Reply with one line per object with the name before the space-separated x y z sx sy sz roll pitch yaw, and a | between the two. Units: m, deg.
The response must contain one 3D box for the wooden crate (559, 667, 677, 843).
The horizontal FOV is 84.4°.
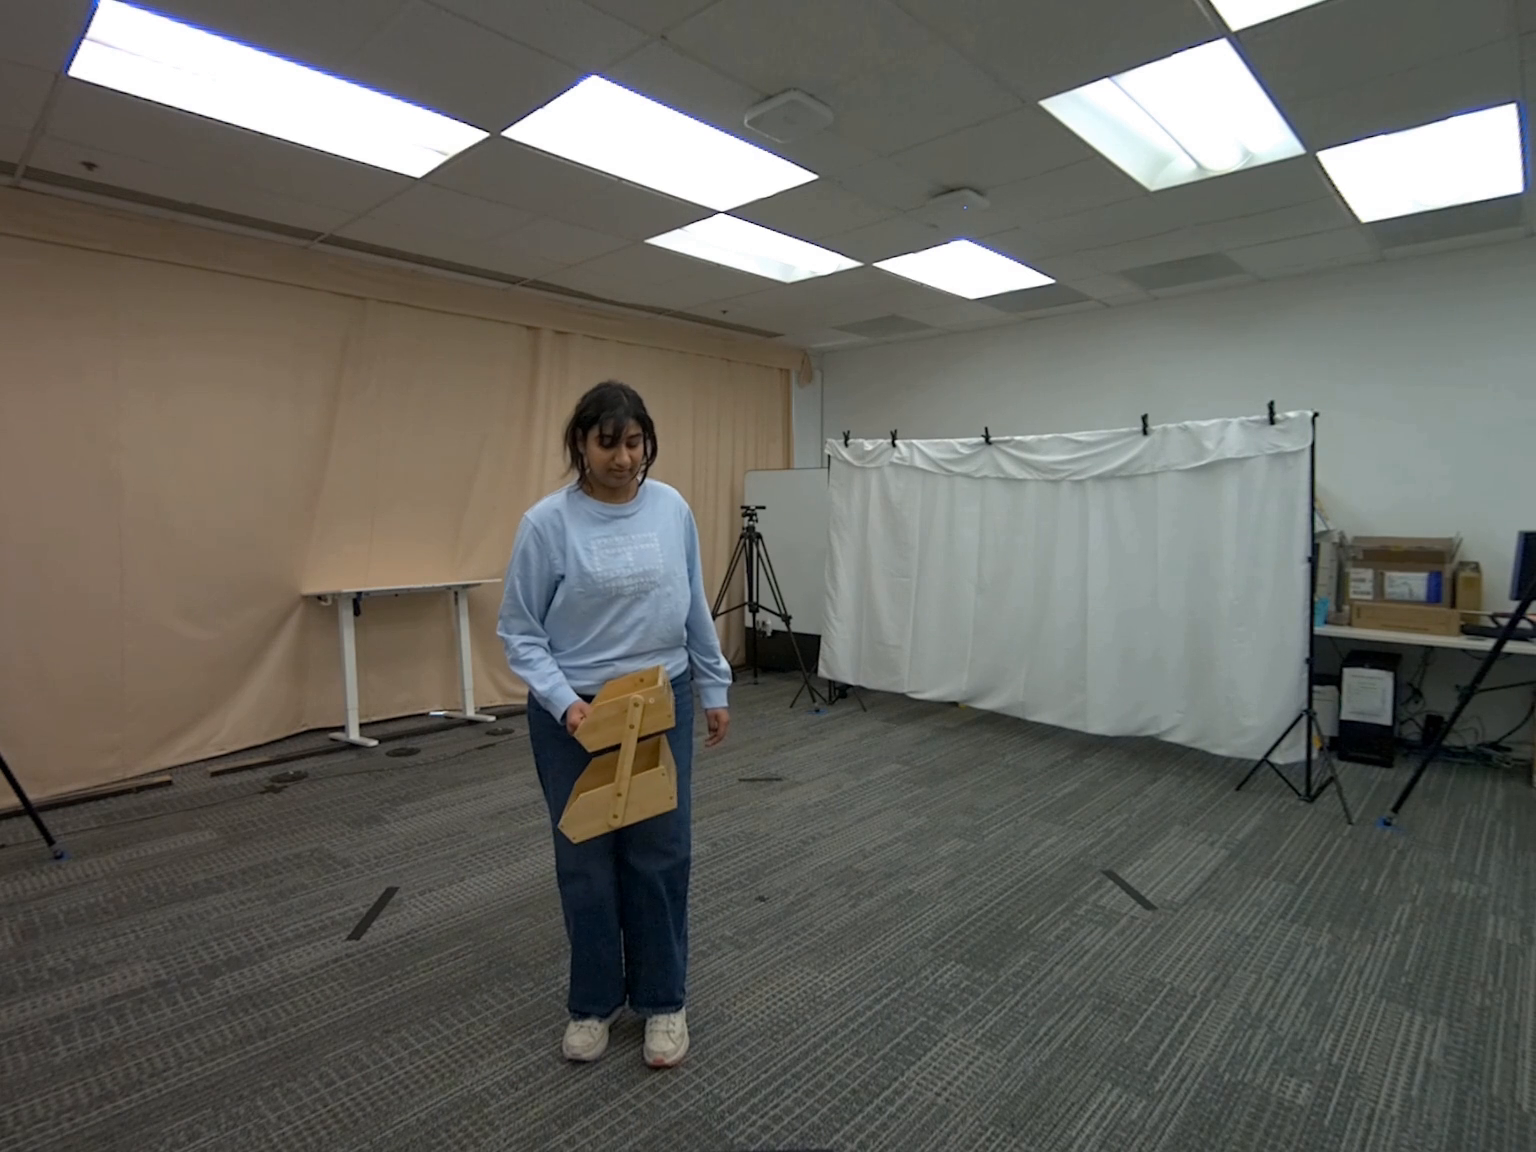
wooden crate | -0.348 0.399 1.918 0.301 0.272 0.327 -18 4 -5
